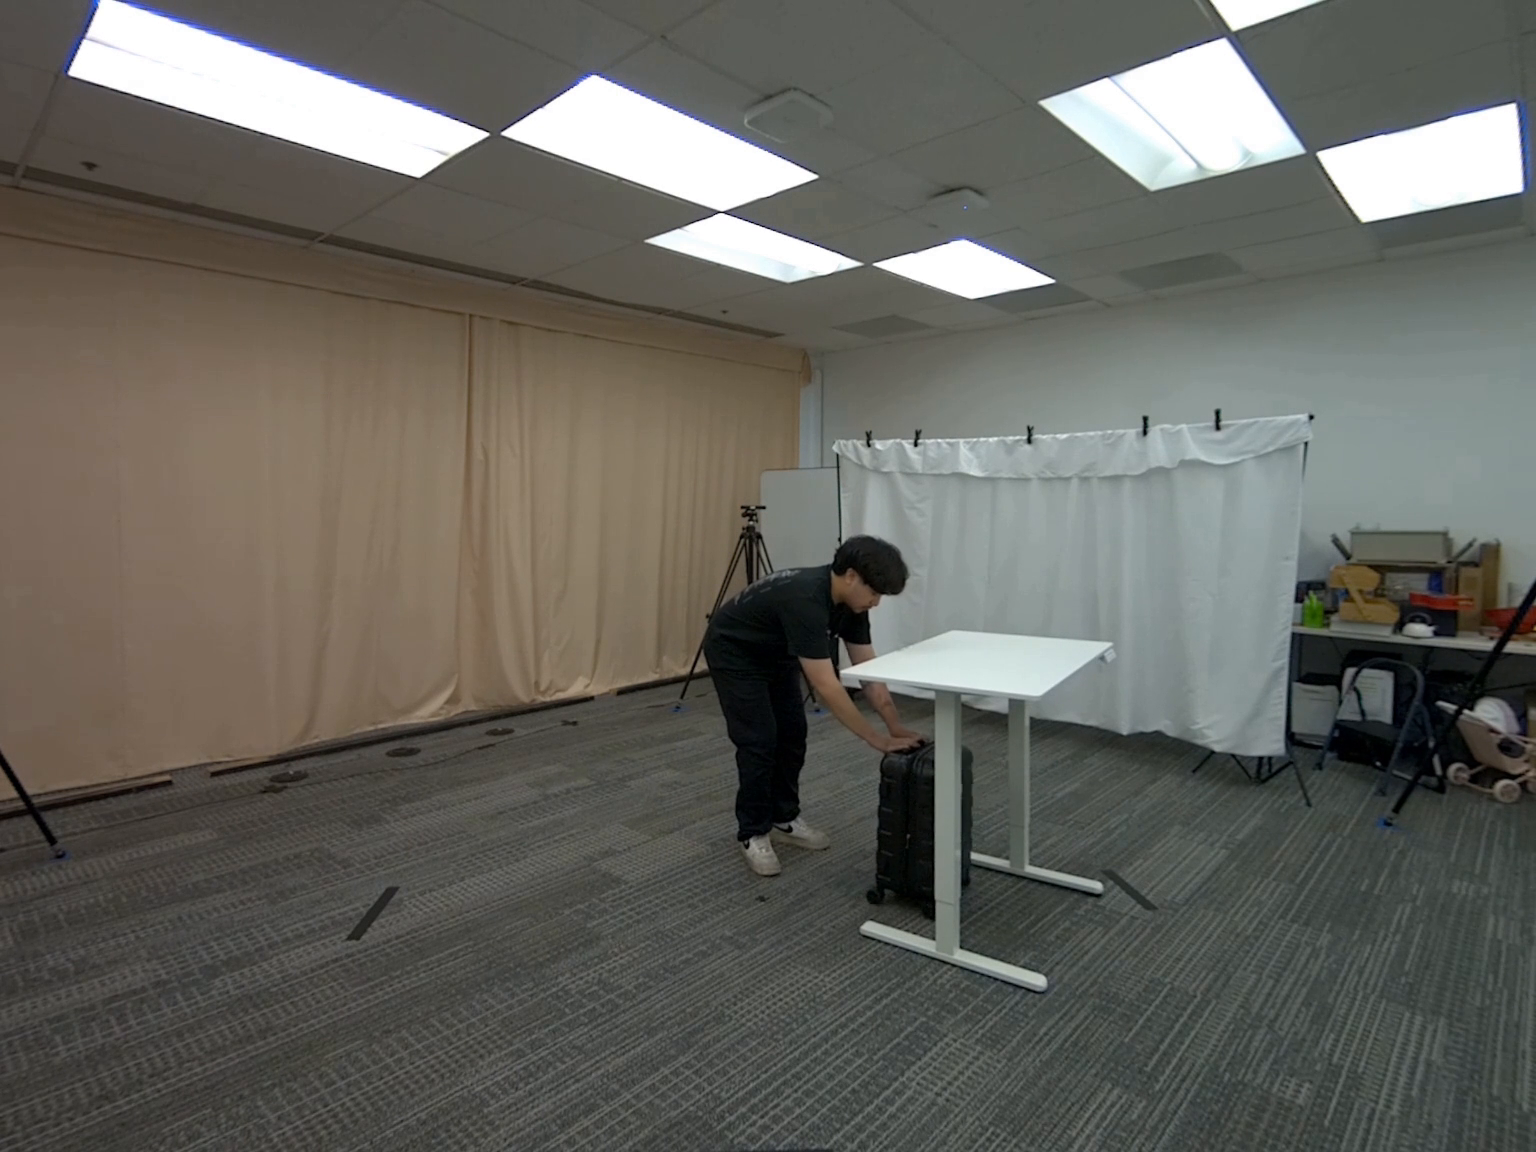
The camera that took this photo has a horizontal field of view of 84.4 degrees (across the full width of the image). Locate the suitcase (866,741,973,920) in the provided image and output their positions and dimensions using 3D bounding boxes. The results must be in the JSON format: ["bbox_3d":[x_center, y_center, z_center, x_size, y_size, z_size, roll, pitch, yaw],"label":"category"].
[{"bbox_3d":[0.566,0.873,2.983,0.256,0.548,0.365,5,6,30],"label":"suitcase"}]
